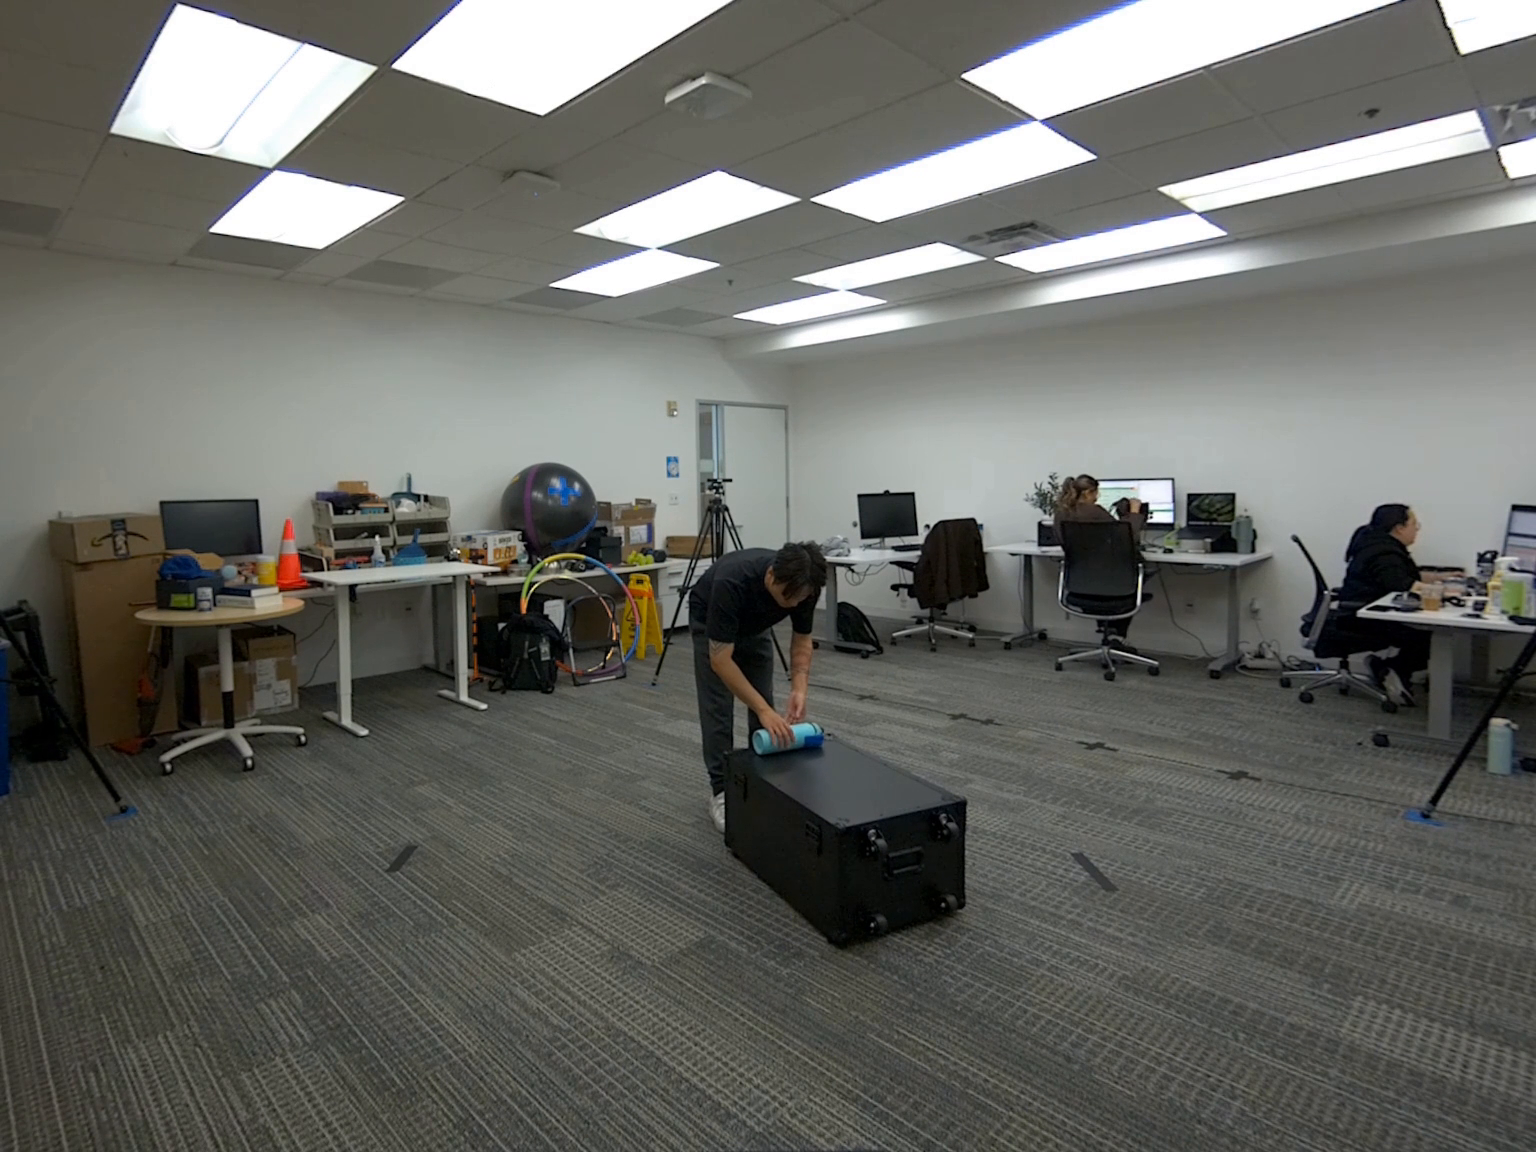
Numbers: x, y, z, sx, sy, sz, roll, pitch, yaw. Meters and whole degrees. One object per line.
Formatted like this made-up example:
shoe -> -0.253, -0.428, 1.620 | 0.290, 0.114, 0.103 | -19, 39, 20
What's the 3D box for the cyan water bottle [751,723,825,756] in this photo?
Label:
cyan water bottle -> 0.089, 0.607, 3.216 | 0.277, 0.092, 0.094 | -2, 5, -24
